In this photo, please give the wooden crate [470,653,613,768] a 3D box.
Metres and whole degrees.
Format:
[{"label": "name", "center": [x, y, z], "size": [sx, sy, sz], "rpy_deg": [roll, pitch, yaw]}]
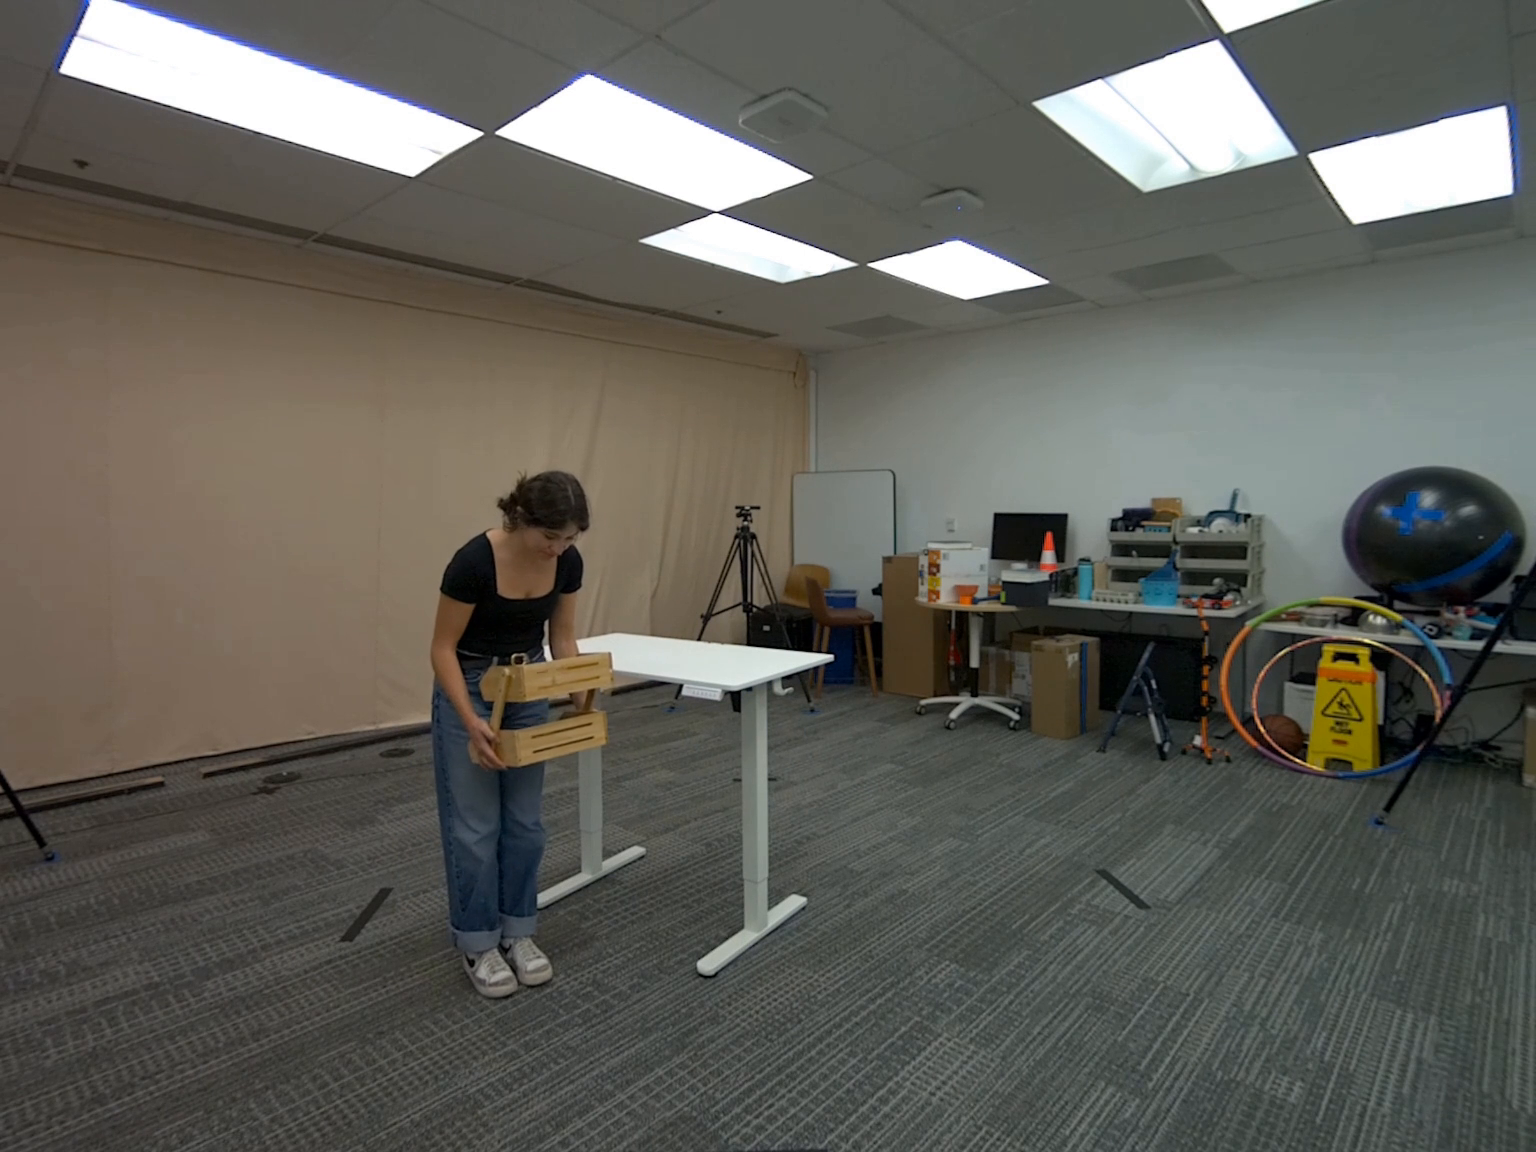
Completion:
[{"label": "wooden crate", "center": [-0.643, 0.363, 2.350], "size": [0.311, 0.274, 0.314], "rpy_deg": [-7, -2, 42]}]
